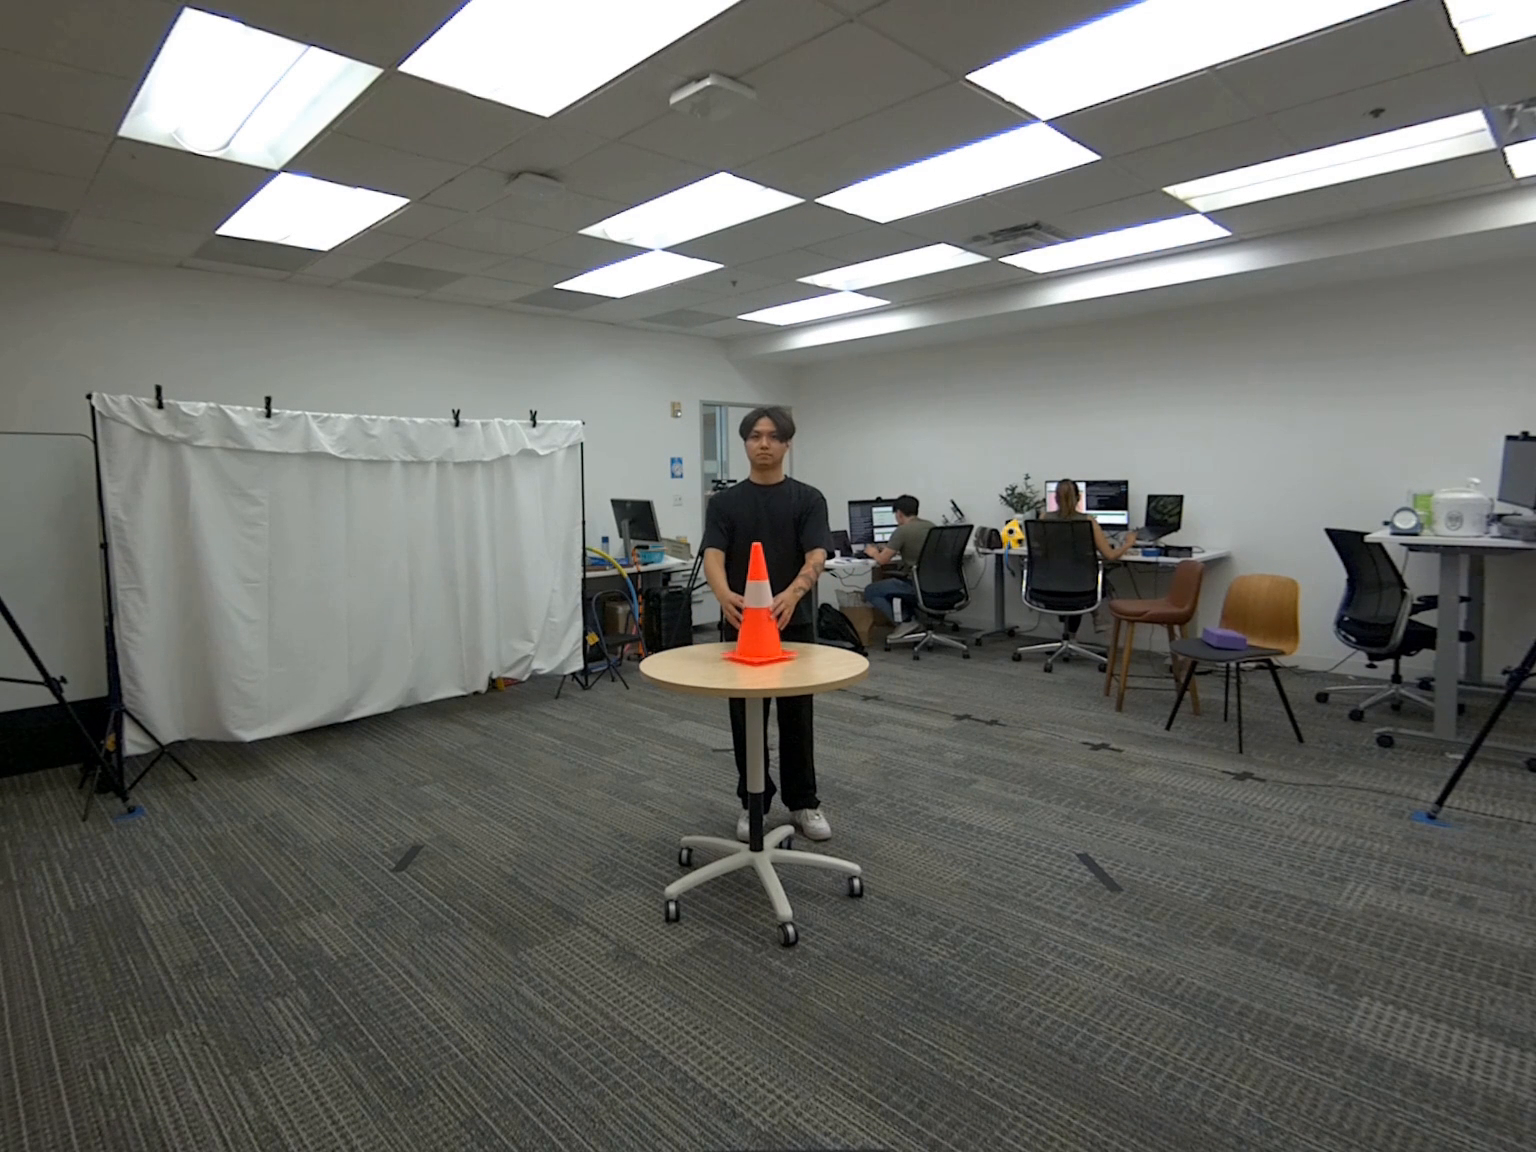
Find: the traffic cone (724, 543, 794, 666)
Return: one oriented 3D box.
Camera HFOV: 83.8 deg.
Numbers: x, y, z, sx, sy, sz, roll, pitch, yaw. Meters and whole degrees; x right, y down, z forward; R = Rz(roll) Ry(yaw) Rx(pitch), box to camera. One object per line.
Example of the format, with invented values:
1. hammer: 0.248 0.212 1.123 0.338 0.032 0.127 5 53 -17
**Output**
1. traffic cone: -0.038 0.079 2.899 0.209 0.382 0.200 1 6 42
